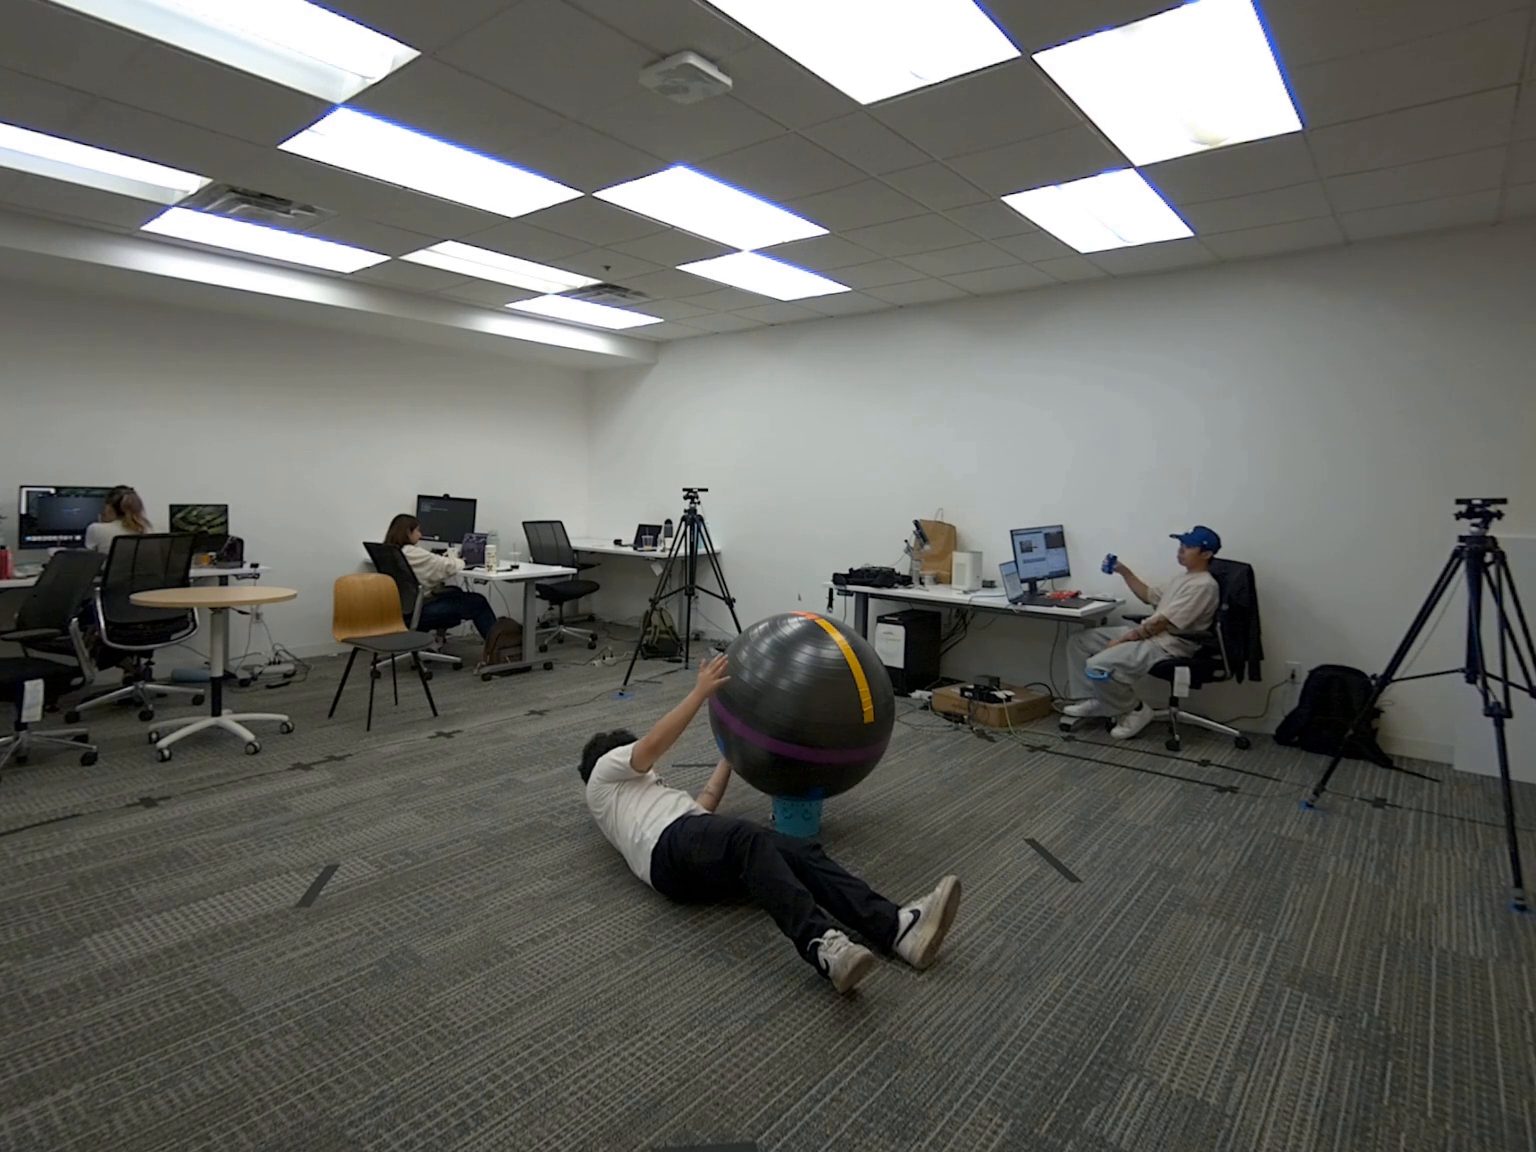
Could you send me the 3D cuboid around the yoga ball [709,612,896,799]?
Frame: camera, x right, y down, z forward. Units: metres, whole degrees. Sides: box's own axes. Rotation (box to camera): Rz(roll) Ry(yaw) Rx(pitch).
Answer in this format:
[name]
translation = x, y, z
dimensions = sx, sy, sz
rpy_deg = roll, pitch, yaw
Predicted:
[yoga ball]
translation = 0.145, 0.528, 3.496
dimensions = 0.757, 0.756, 0.761
rpy_deg = 1, 4, -2
